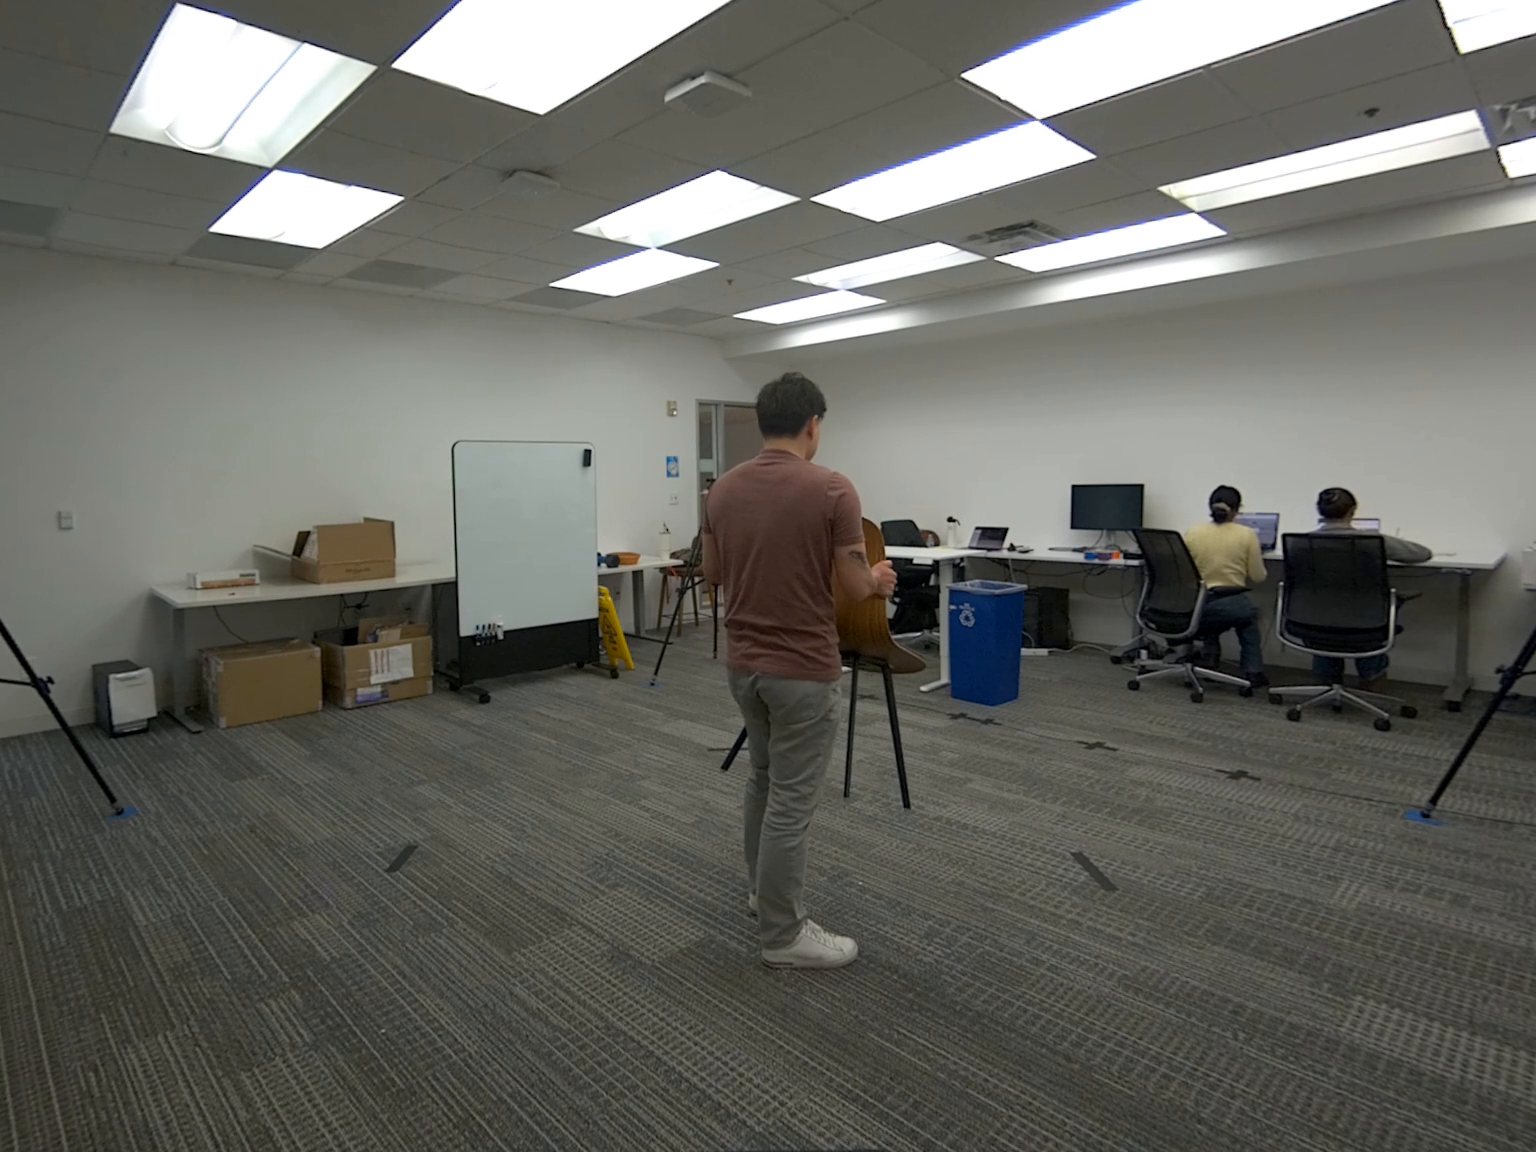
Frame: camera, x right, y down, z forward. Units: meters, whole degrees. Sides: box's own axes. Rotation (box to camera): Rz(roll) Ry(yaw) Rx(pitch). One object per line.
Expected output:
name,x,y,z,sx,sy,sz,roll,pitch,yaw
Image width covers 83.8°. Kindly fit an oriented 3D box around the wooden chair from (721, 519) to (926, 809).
wooden chair,0.238,0.279,2.826,0.491,0.885,0.504,0,-13,35
